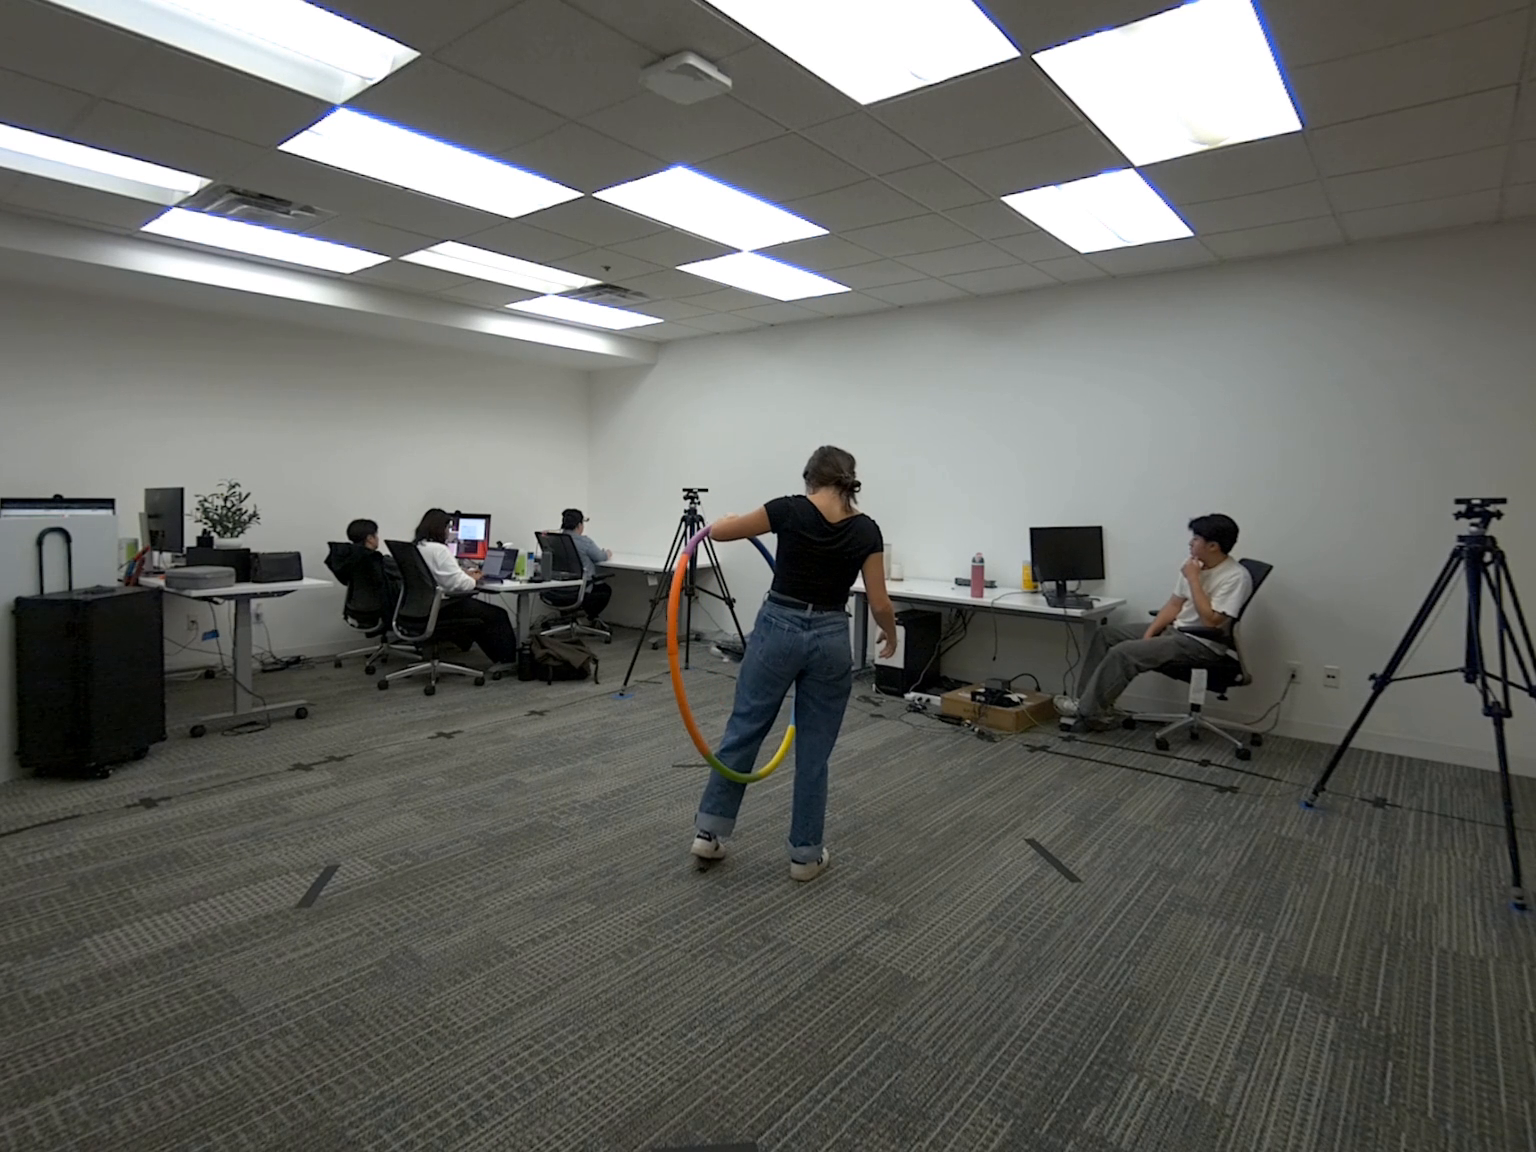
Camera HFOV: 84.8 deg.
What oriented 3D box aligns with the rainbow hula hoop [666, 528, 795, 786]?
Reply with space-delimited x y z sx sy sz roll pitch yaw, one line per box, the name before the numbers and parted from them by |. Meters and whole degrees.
rainbow hula hoop | -0.093 0.259 3.252 0.036 0.982 0.954 -11 -2 28
